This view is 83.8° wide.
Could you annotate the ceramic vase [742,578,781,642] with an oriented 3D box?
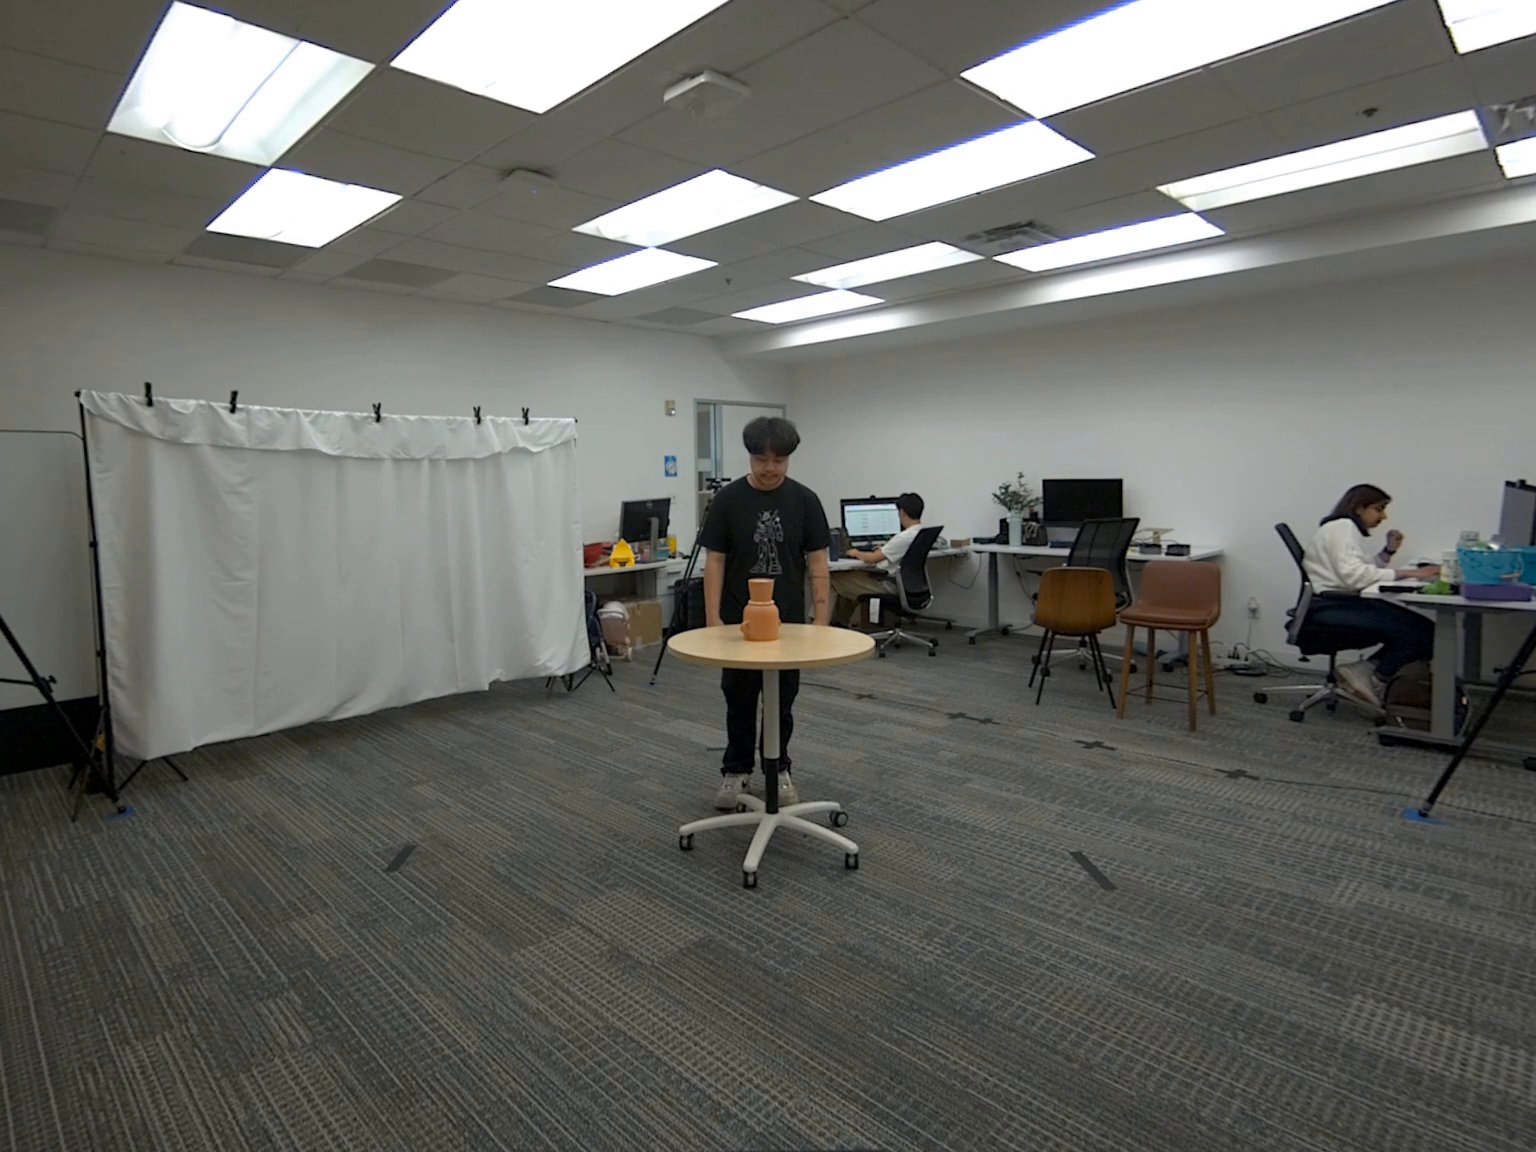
[{"bbox_3d":[-0.030,0.127,3.218,0.136,0.219,0.158,0,5,8],"label":"ceramic vase"}]
